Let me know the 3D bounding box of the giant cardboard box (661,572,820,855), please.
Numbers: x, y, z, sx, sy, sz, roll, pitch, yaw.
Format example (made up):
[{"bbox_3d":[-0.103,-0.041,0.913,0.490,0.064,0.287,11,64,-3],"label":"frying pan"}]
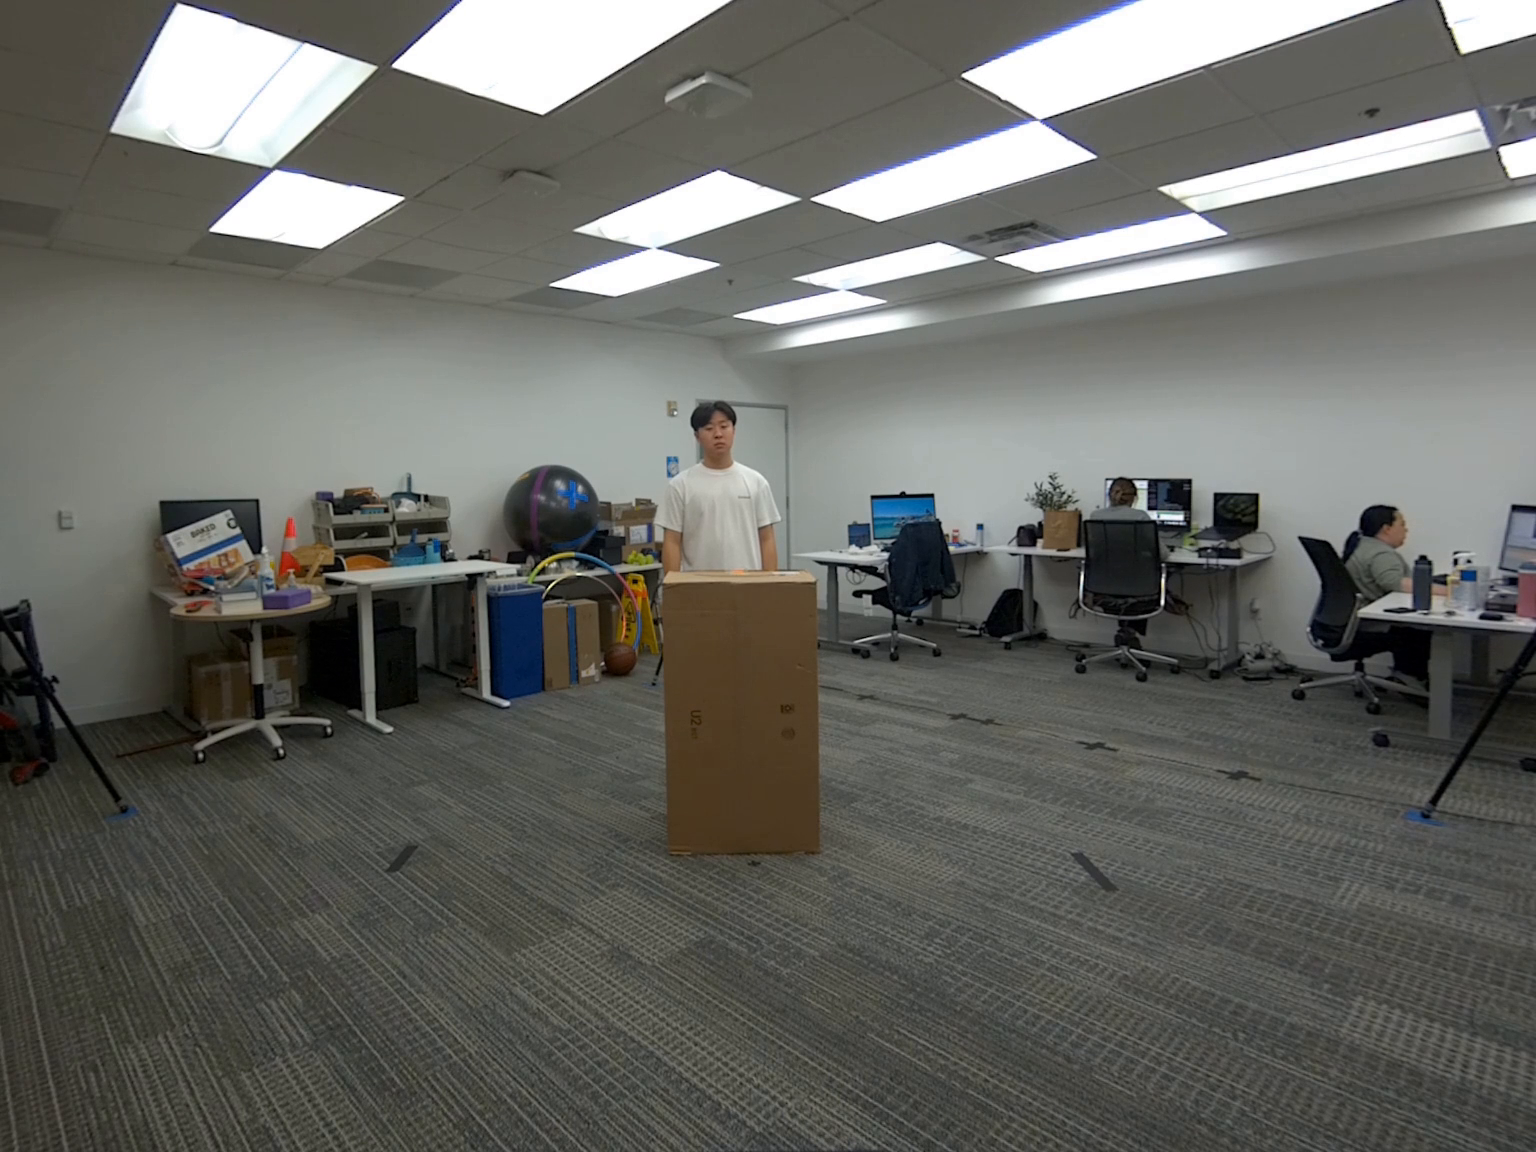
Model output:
[{"bbox_3d":[-0.103,0.510,3.366,0.577,1.022,0.428,-1,4,-1],"label":"giant cardboard box"}]
